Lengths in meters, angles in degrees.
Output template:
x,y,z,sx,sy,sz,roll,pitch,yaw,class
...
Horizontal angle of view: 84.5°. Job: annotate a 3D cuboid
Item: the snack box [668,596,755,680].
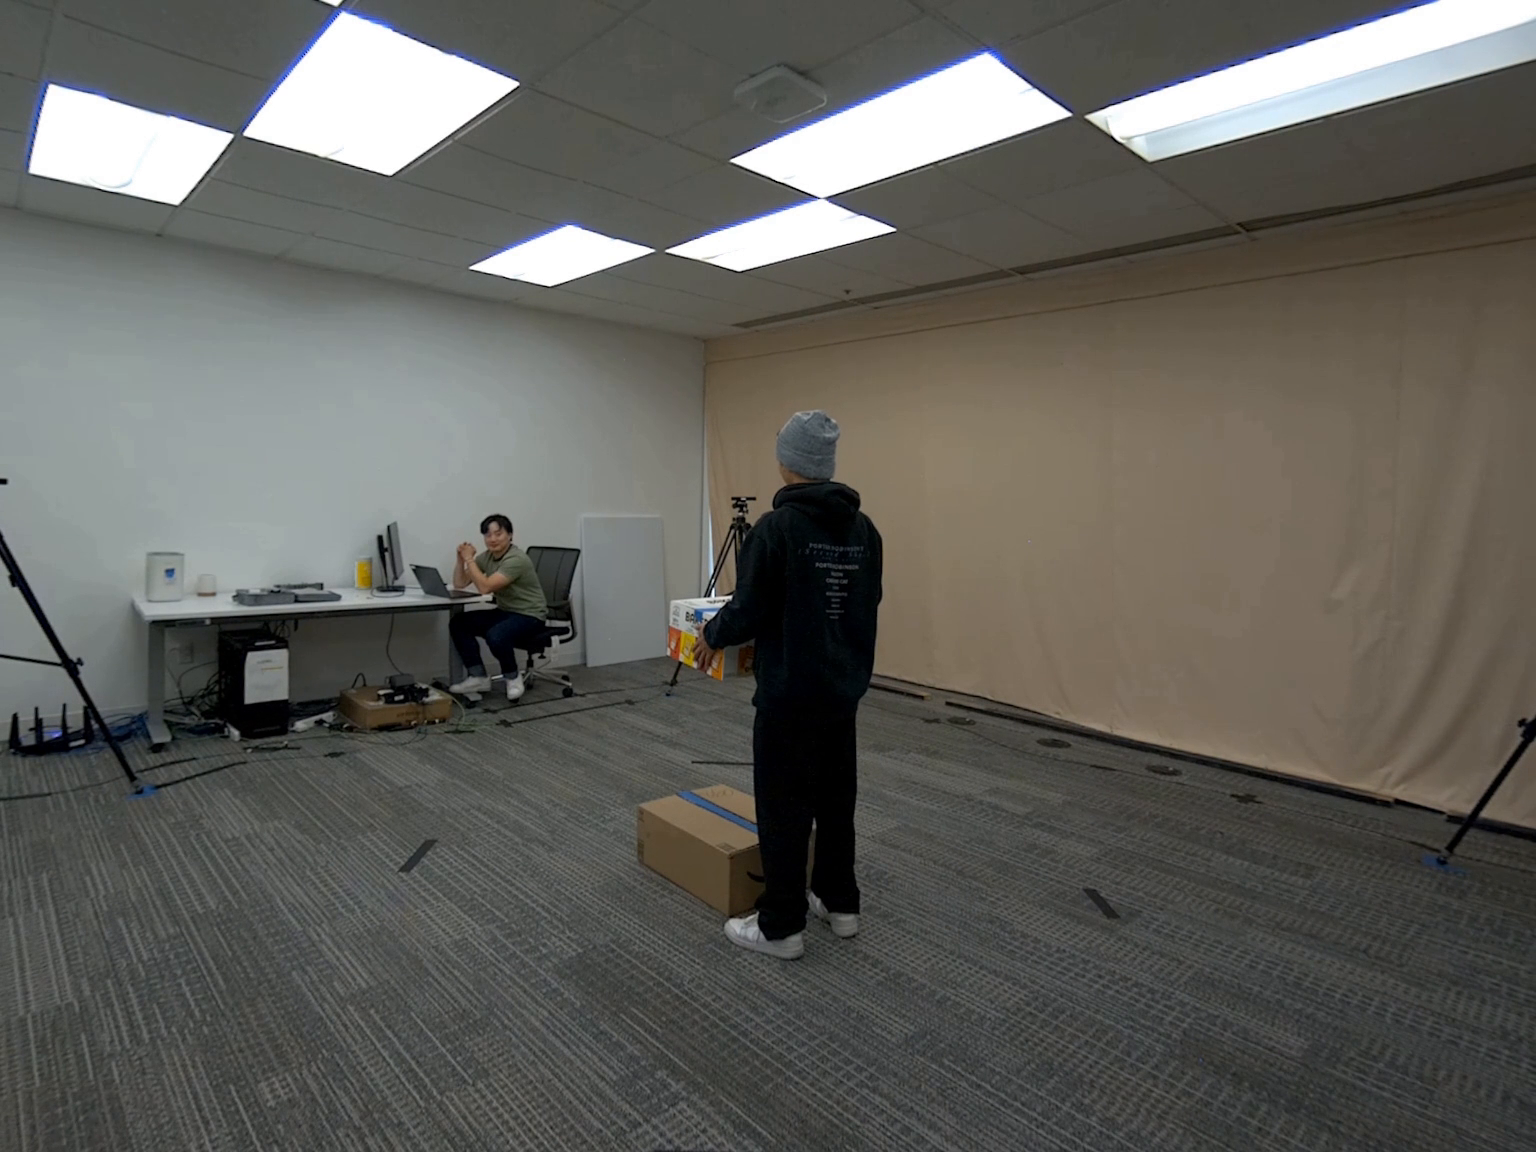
x,y,z,sx,sy,sz,roll,pitch,yaw,class
-0.105,0.210,3.026,0.396,0.204,0.350,-3,13,-38,snack box
